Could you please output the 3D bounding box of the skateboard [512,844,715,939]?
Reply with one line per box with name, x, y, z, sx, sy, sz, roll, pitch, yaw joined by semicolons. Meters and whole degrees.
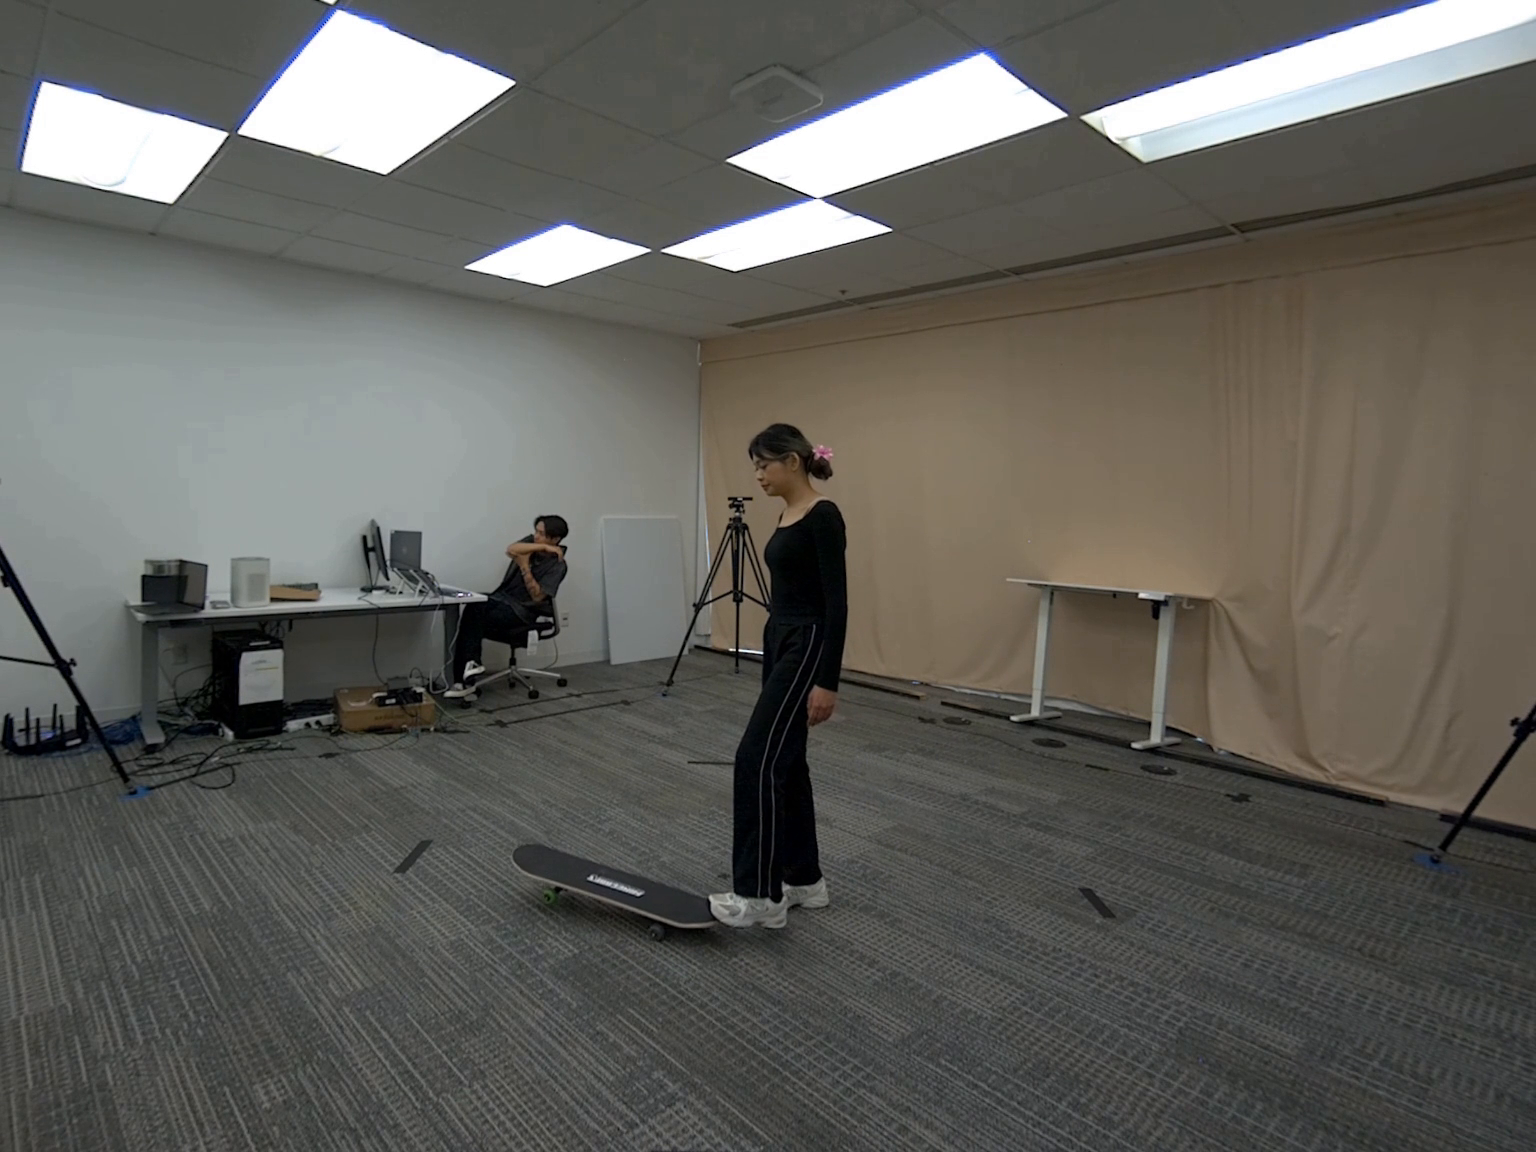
skateboard;-0.518;1.057;2.778;0.799;0.110;0.190;9;6;21
